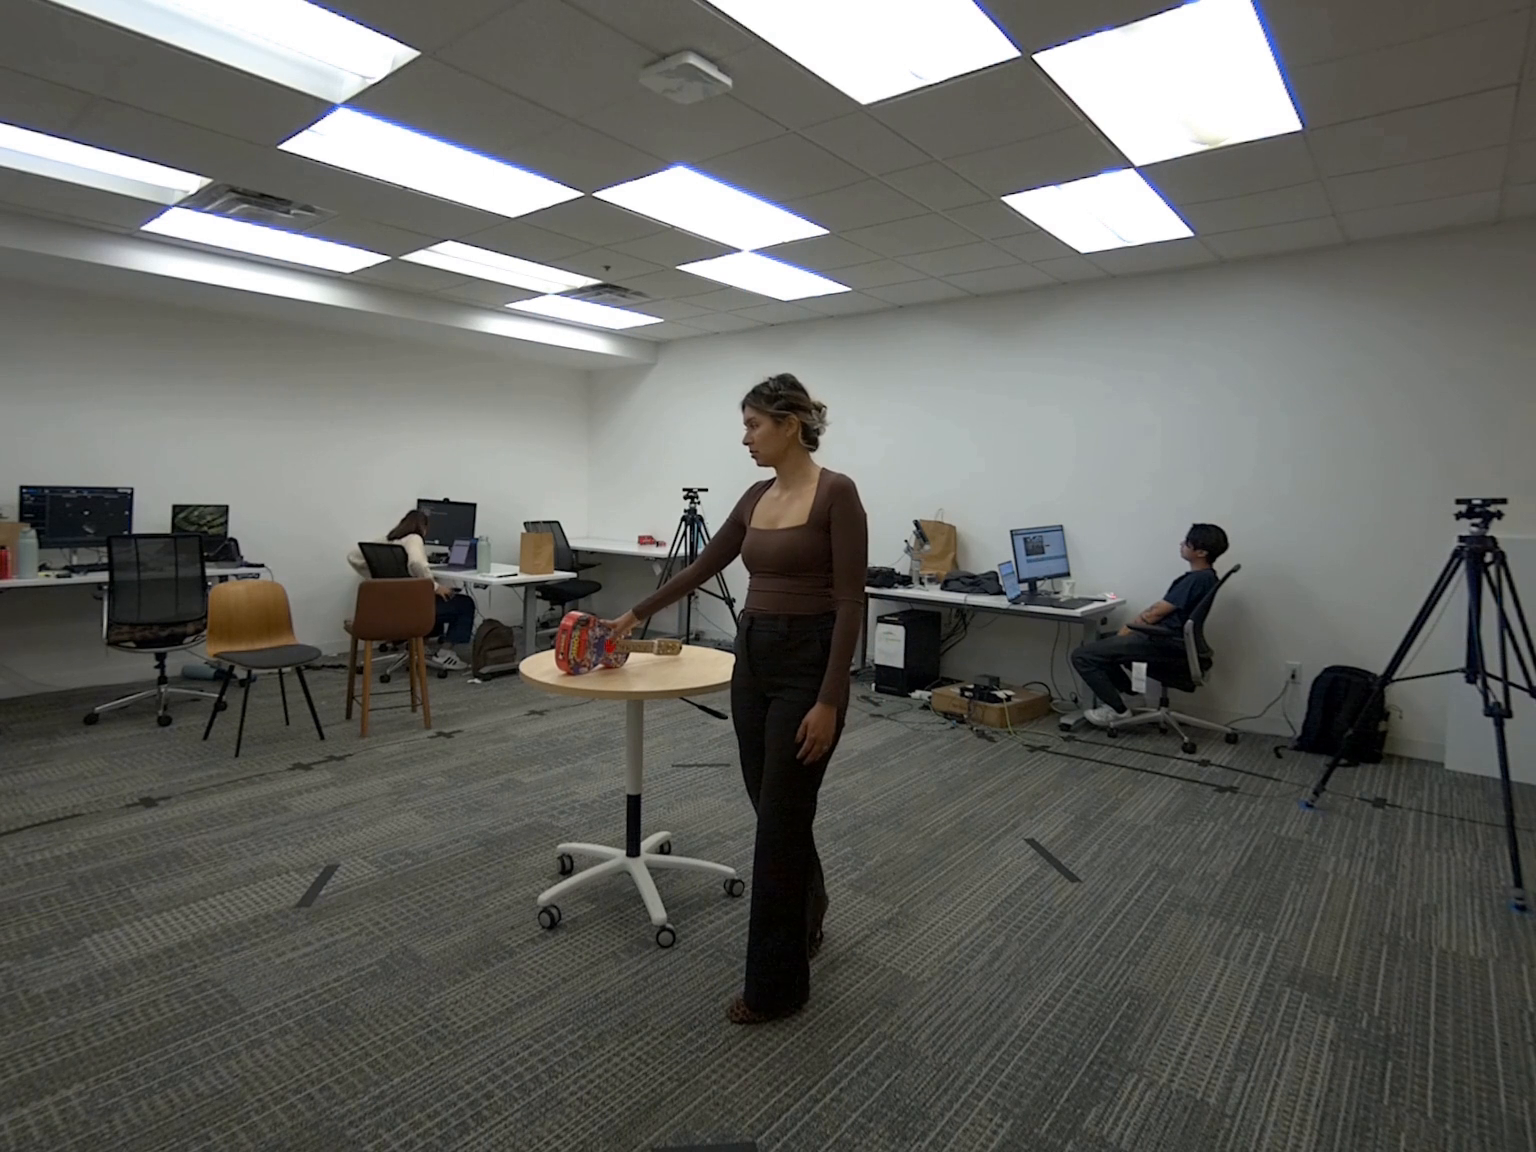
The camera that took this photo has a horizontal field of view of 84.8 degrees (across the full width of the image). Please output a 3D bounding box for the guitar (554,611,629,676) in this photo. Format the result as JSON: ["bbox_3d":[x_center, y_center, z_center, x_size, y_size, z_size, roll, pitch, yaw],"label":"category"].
[{"bbox_3d":[-0.496,0.255,2.816,0.073,0.194,0.478,6,-11,42],"label":"guitar"}]
